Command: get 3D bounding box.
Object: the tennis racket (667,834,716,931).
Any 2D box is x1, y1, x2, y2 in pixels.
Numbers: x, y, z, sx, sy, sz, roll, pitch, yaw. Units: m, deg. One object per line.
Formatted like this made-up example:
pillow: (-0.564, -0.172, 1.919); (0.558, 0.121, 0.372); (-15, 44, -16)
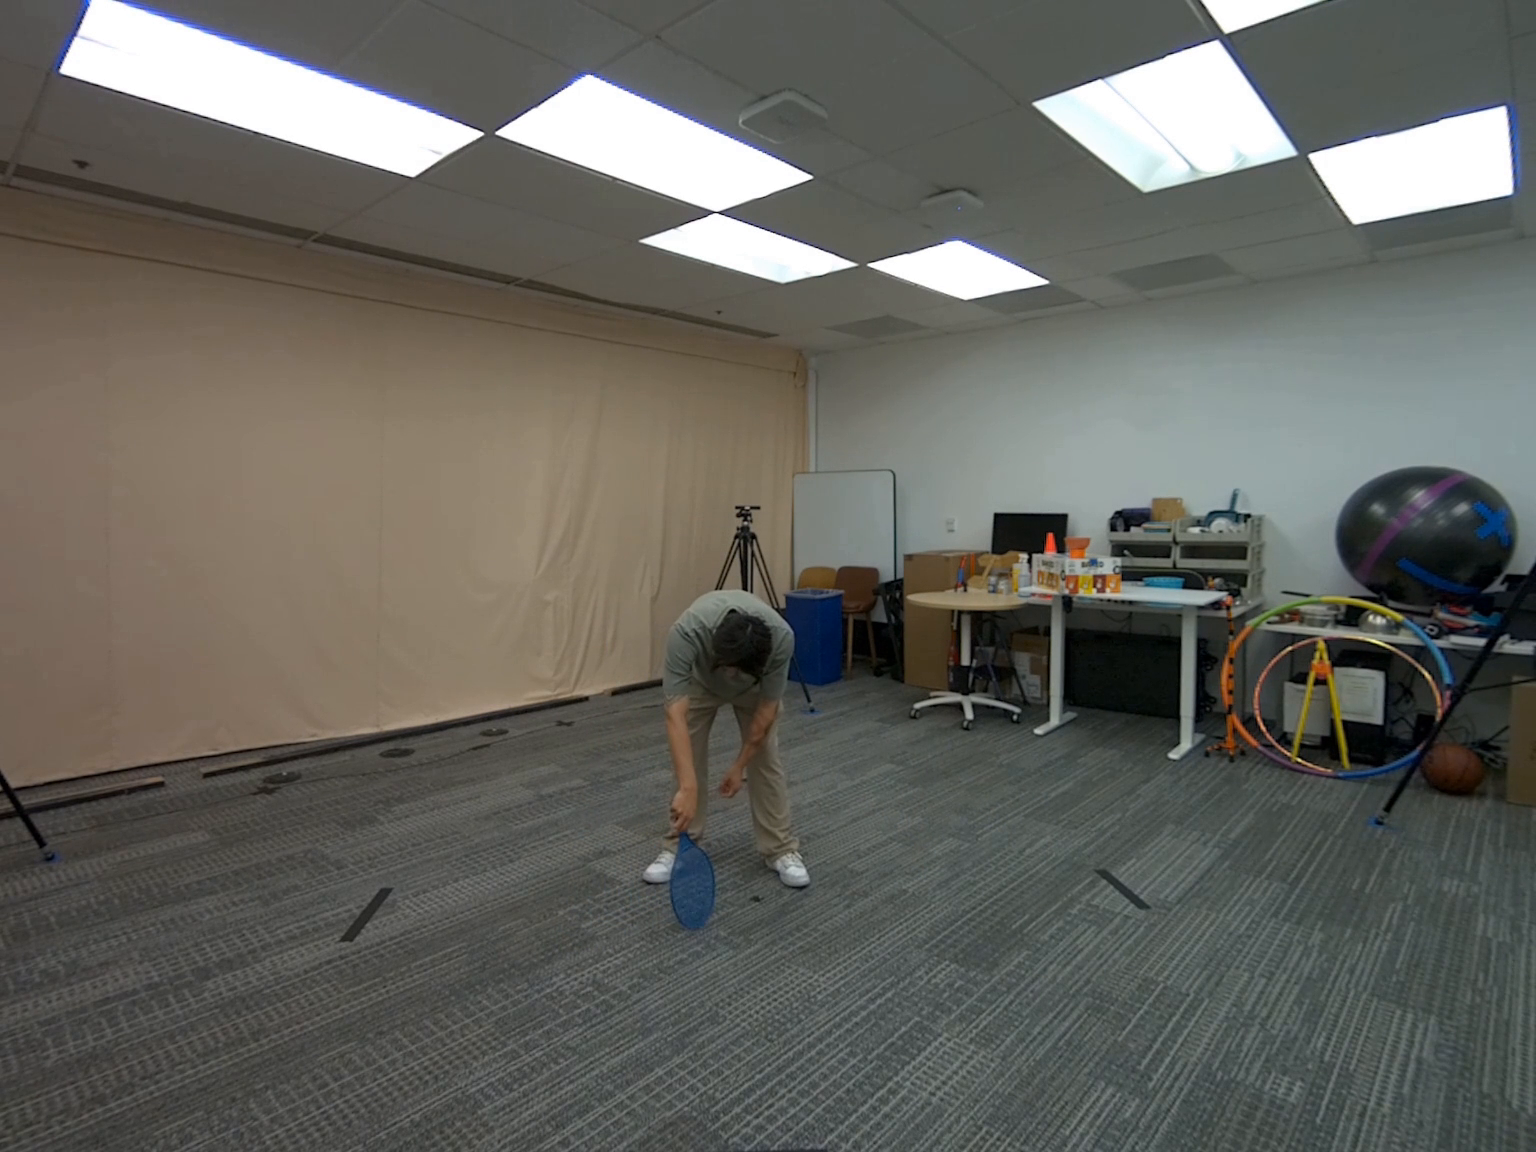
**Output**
tennis racket: (-0.256, 0.942, 2.786); (0.032, 0.431, 0.209); (-9, 6, 36)
